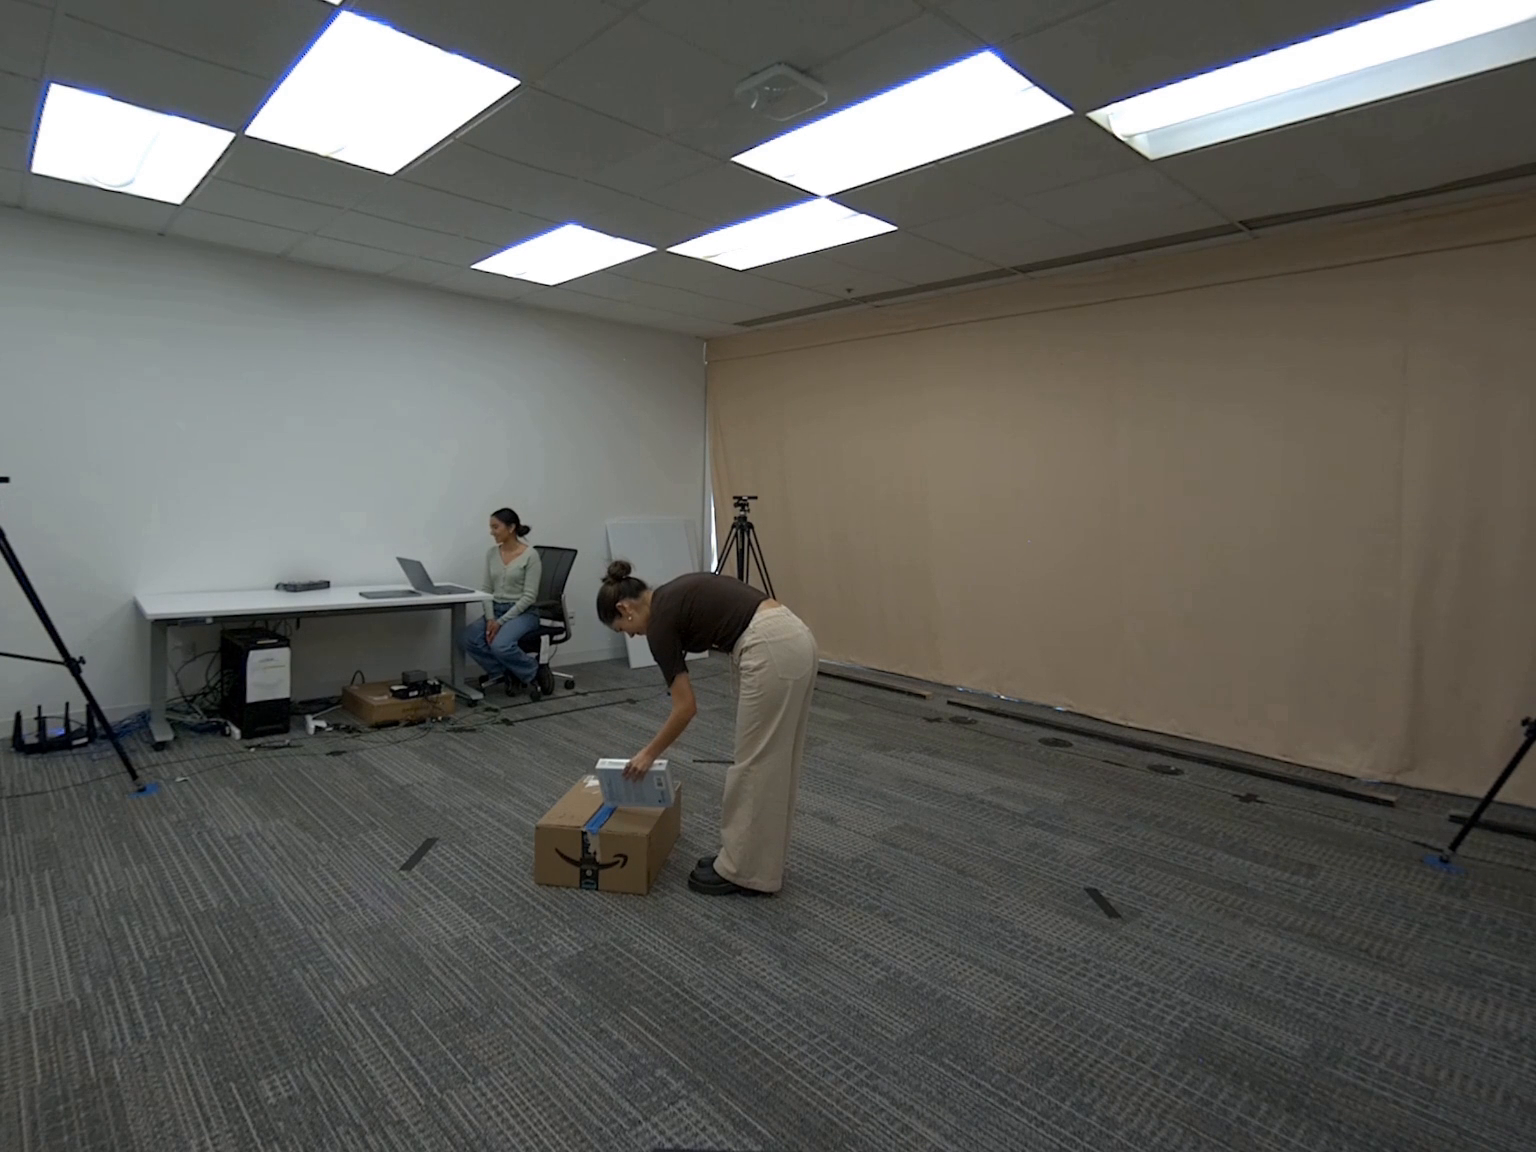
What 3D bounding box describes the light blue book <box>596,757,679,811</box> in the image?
[{"bbox_3d":[-0.474,0.752,3.071,0.263,0.188,0.059,-2,25,10],"label":"light blue book"}]
